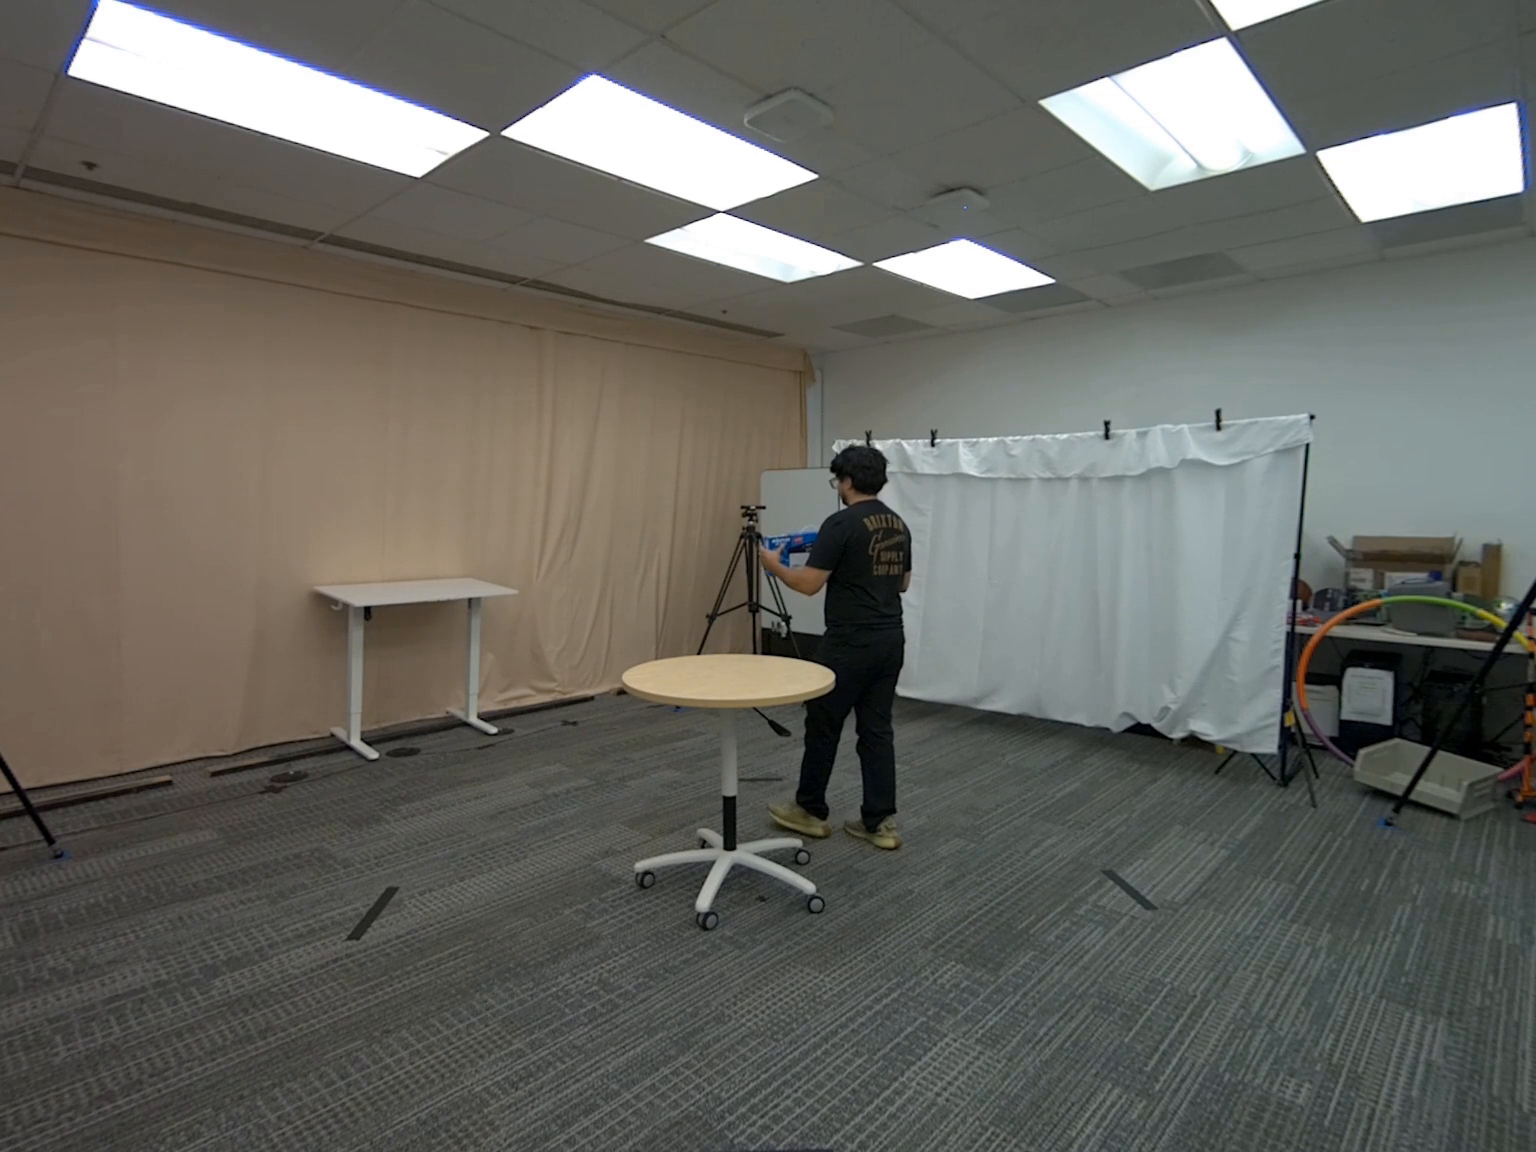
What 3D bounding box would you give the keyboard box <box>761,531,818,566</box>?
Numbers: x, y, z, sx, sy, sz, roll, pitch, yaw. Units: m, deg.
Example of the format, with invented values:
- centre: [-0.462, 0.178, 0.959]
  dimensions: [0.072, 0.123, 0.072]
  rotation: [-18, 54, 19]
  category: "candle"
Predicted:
- centre: [0.205, -0.105, 3.755]
  dimensions: [0.427, 0.175, 0.061]
  rotation: [-8, 7, -24]
  category: "keyboard box"
